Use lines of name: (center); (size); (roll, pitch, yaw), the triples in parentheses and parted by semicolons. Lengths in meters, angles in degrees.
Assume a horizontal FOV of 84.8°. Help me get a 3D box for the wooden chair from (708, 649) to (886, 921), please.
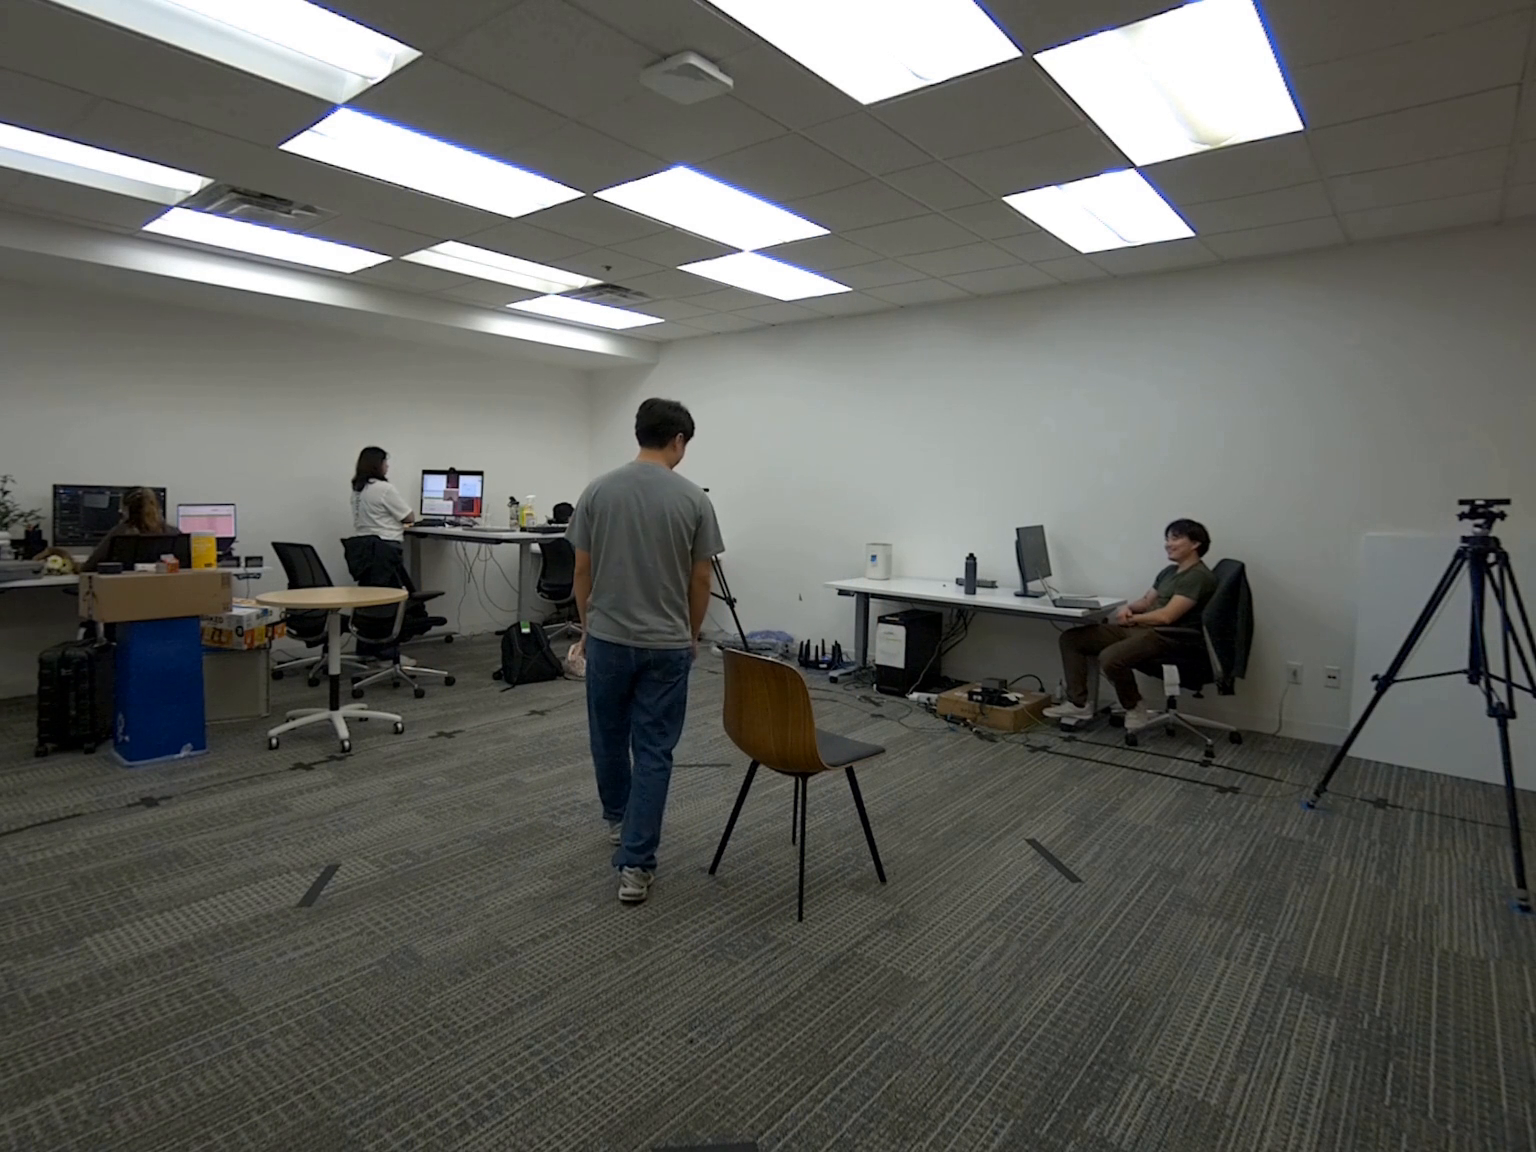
wooden chair: (0.109, 0.657, 3.030); (0.509, 0.872, 0.494); (-8, 9, -44)
